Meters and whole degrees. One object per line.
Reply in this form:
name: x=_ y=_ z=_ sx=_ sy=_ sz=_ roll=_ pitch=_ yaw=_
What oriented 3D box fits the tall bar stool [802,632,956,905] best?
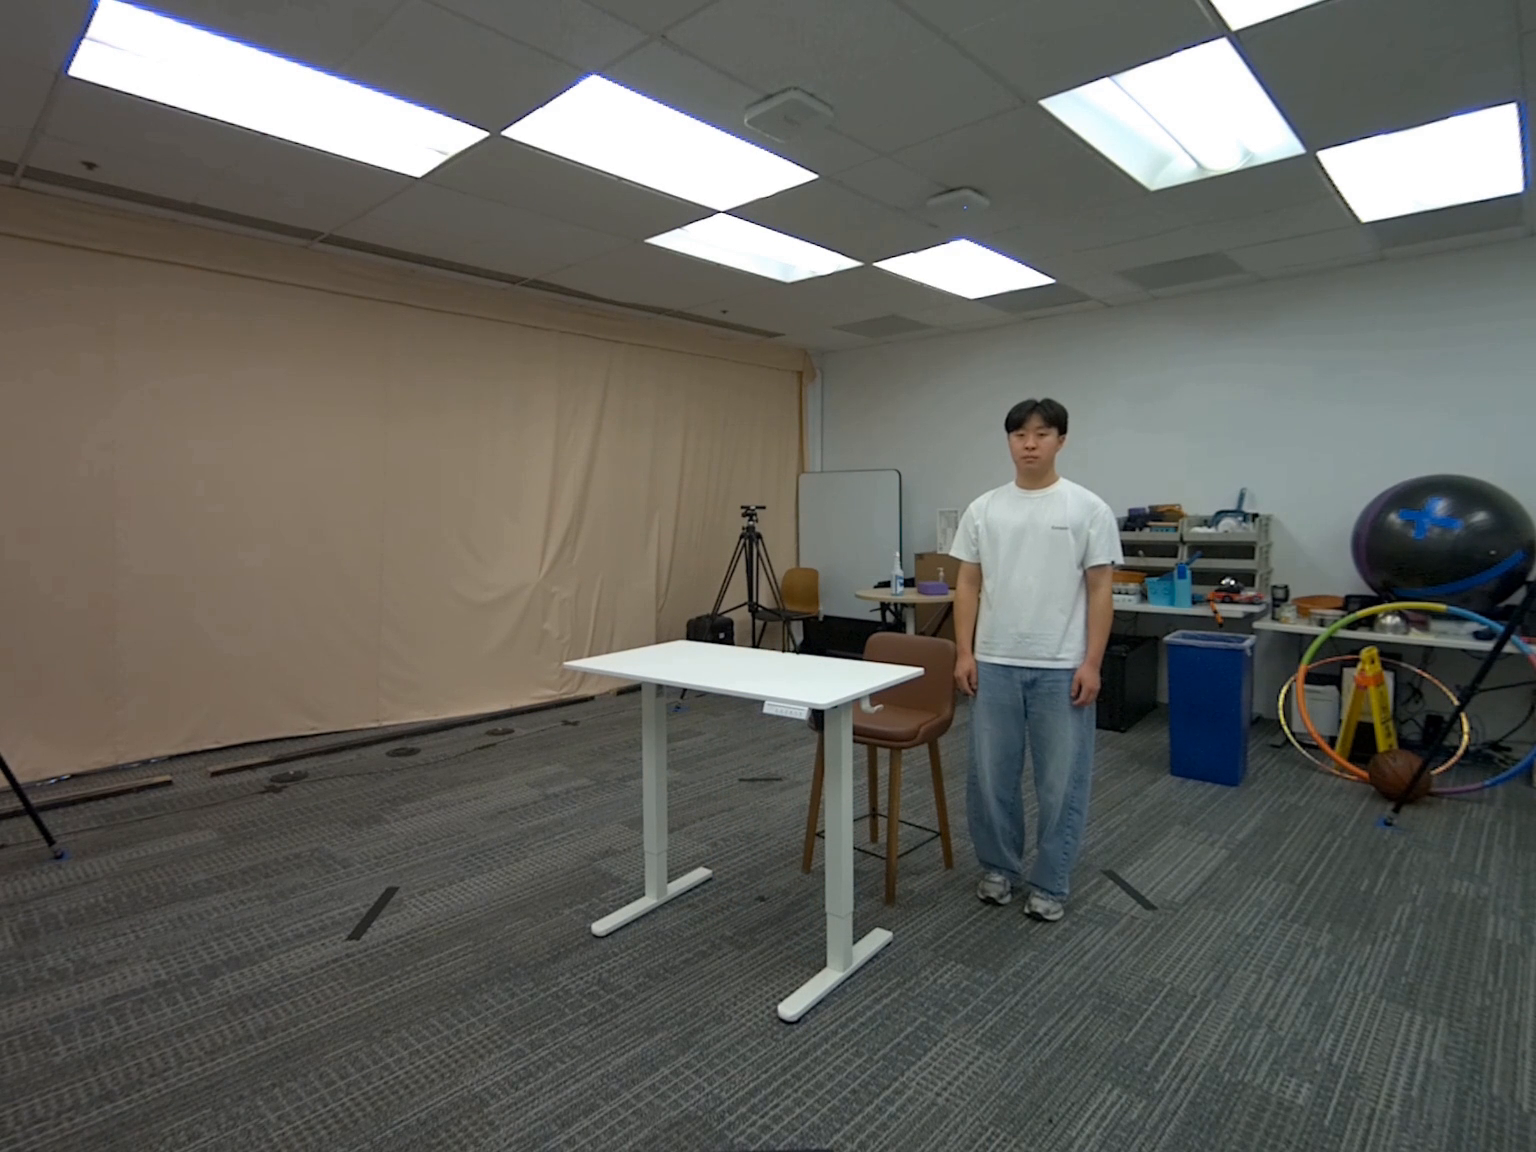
tall bar stool: x=0.428 y=0.688 z=3.195 sx=0.472 sy=0.889 sz=0.453 roll=3 pitch=3 yaw=44
